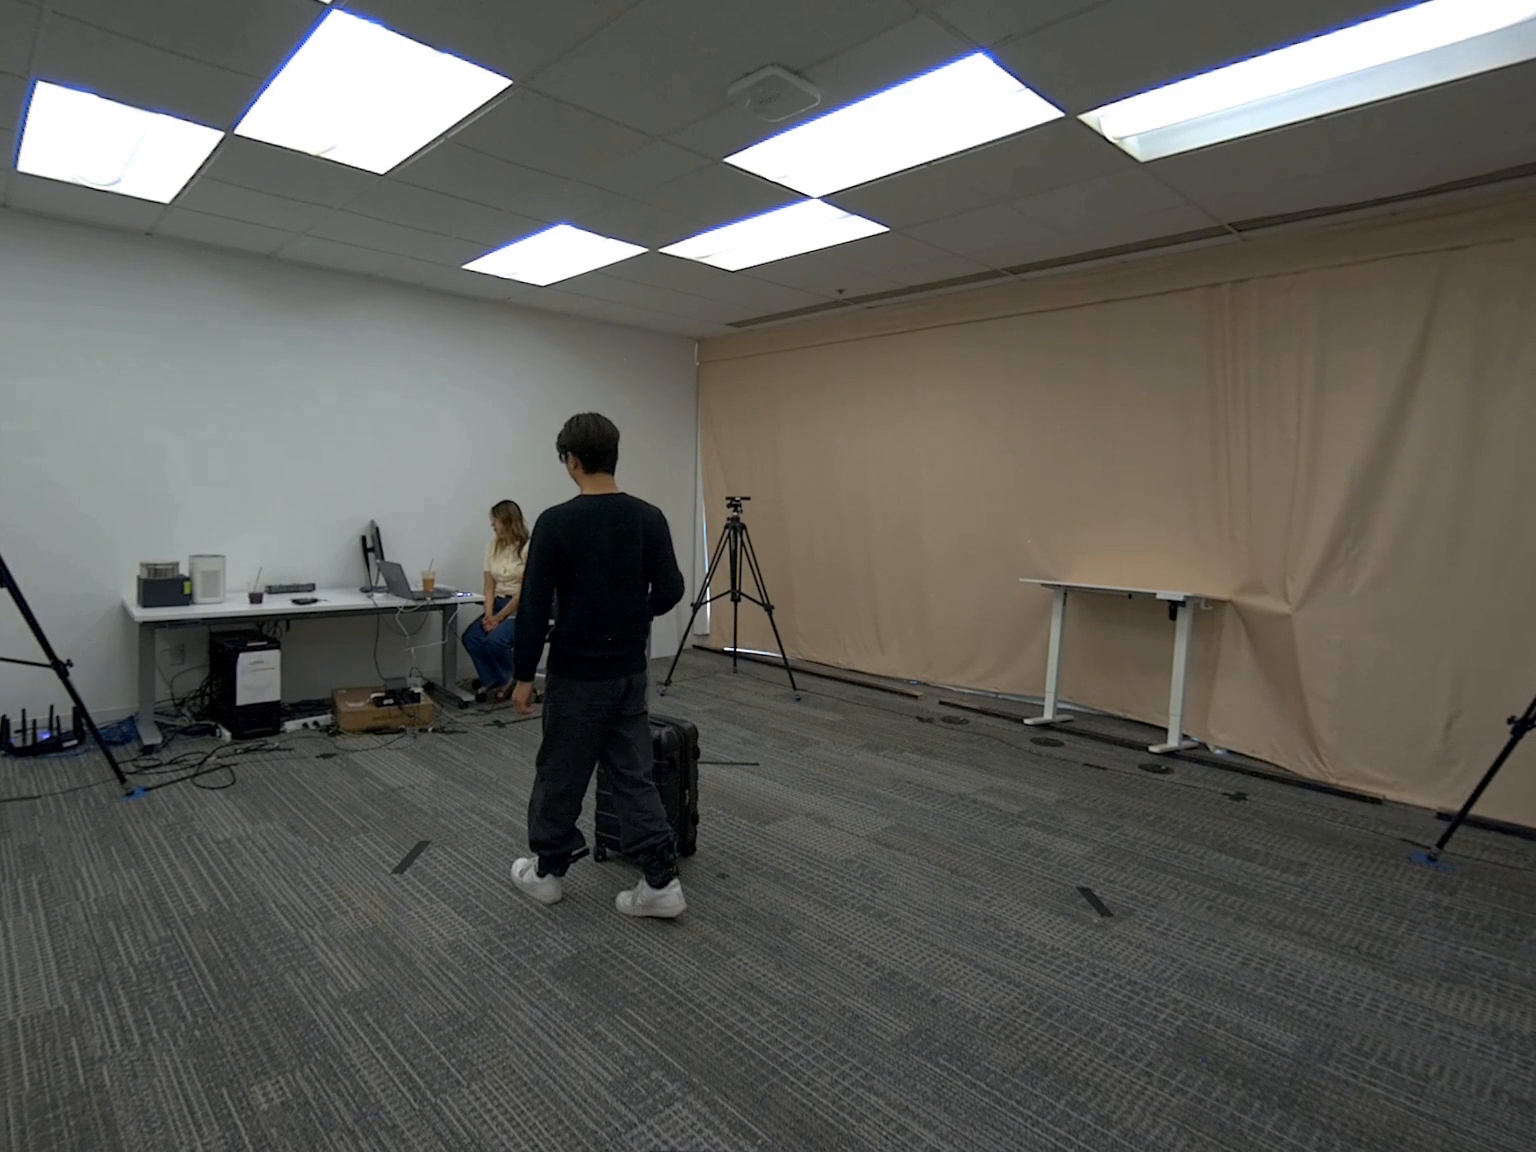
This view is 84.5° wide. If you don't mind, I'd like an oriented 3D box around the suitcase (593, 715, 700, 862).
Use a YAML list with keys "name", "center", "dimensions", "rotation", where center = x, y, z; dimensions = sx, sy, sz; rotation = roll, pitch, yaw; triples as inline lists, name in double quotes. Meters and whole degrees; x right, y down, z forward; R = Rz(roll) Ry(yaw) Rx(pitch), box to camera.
- name: "suitcase"
  center: [-0.464, 0.614, 3.245]
  dimensions: [0.392, 0.979, 0.251]
  rotation: [2, -1, 30]
